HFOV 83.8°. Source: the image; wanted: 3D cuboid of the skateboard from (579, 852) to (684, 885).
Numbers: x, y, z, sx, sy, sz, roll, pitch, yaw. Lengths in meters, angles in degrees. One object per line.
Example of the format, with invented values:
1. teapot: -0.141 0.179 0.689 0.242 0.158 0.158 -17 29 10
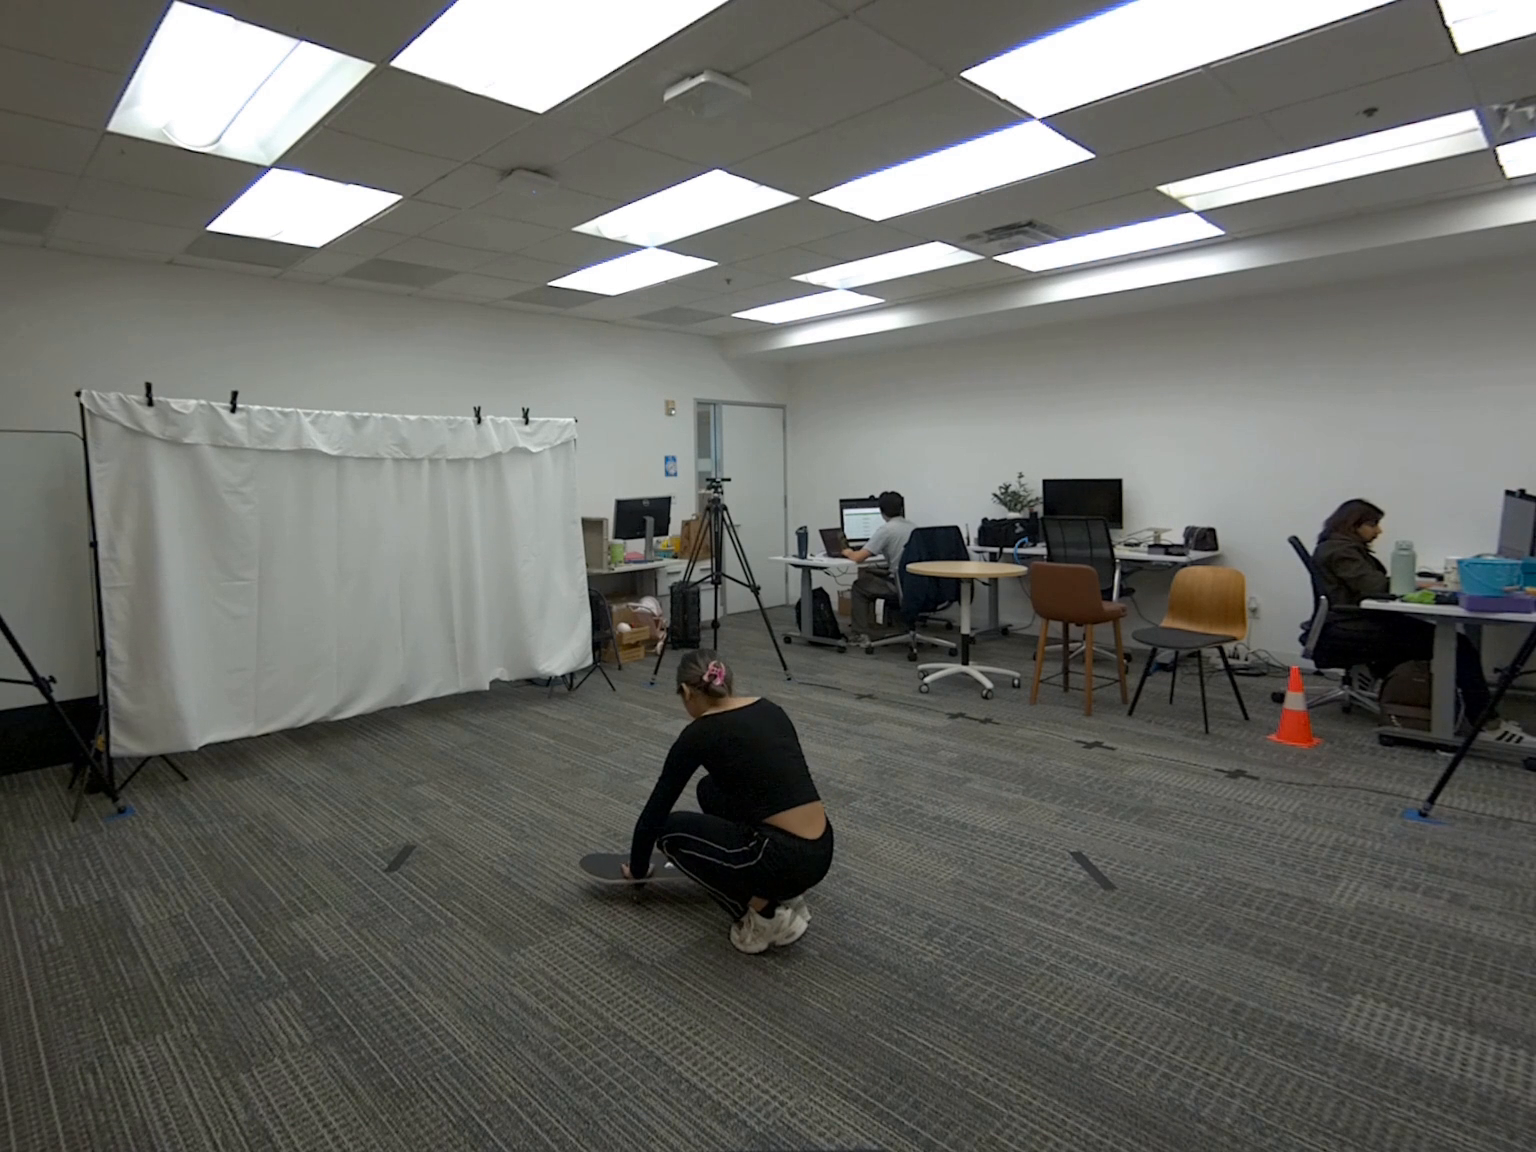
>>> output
1. skateboard: -0.245 1.011 2.903 0.784 0.110 0.195 0 6 -1
